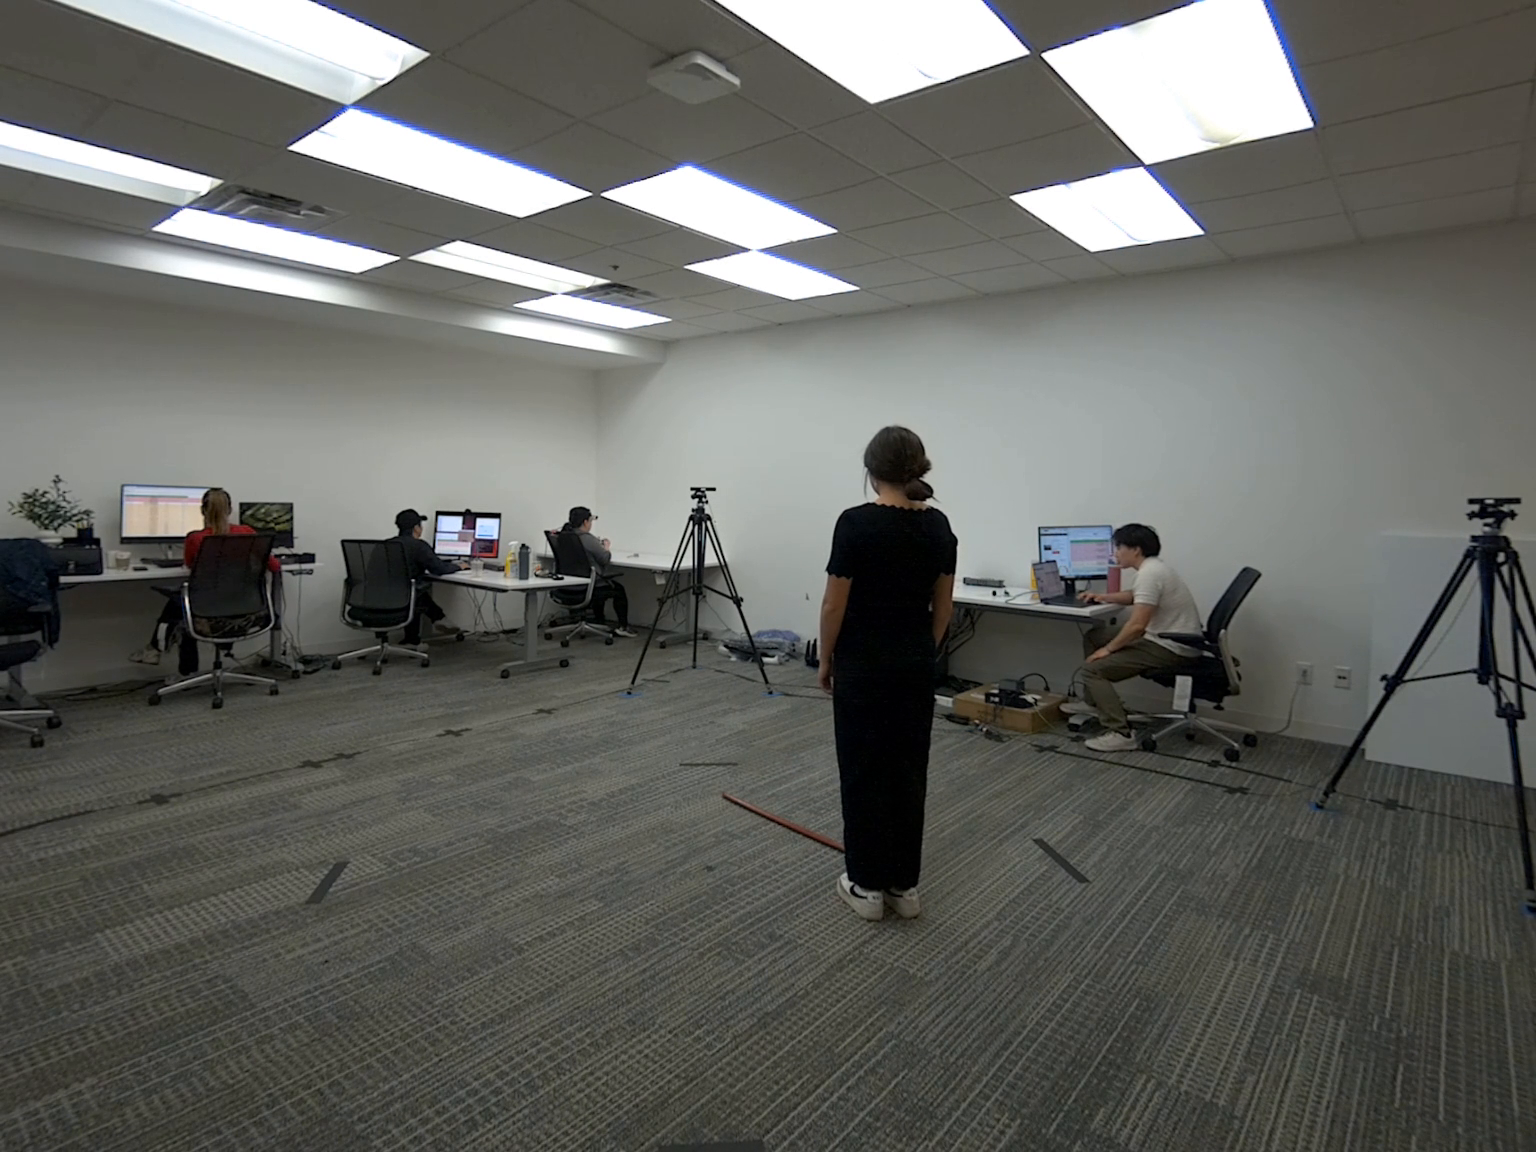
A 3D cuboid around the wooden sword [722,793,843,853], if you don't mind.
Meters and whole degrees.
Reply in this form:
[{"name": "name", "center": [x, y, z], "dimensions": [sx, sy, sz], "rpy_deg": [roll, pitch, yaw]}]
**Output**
[{"name": "wooden sword", "center": [0.126, 1.017, 3.447], "dimensions": [0.049, 0.024, 1.060], "rpy_deg": [7, 1, -42]}]
